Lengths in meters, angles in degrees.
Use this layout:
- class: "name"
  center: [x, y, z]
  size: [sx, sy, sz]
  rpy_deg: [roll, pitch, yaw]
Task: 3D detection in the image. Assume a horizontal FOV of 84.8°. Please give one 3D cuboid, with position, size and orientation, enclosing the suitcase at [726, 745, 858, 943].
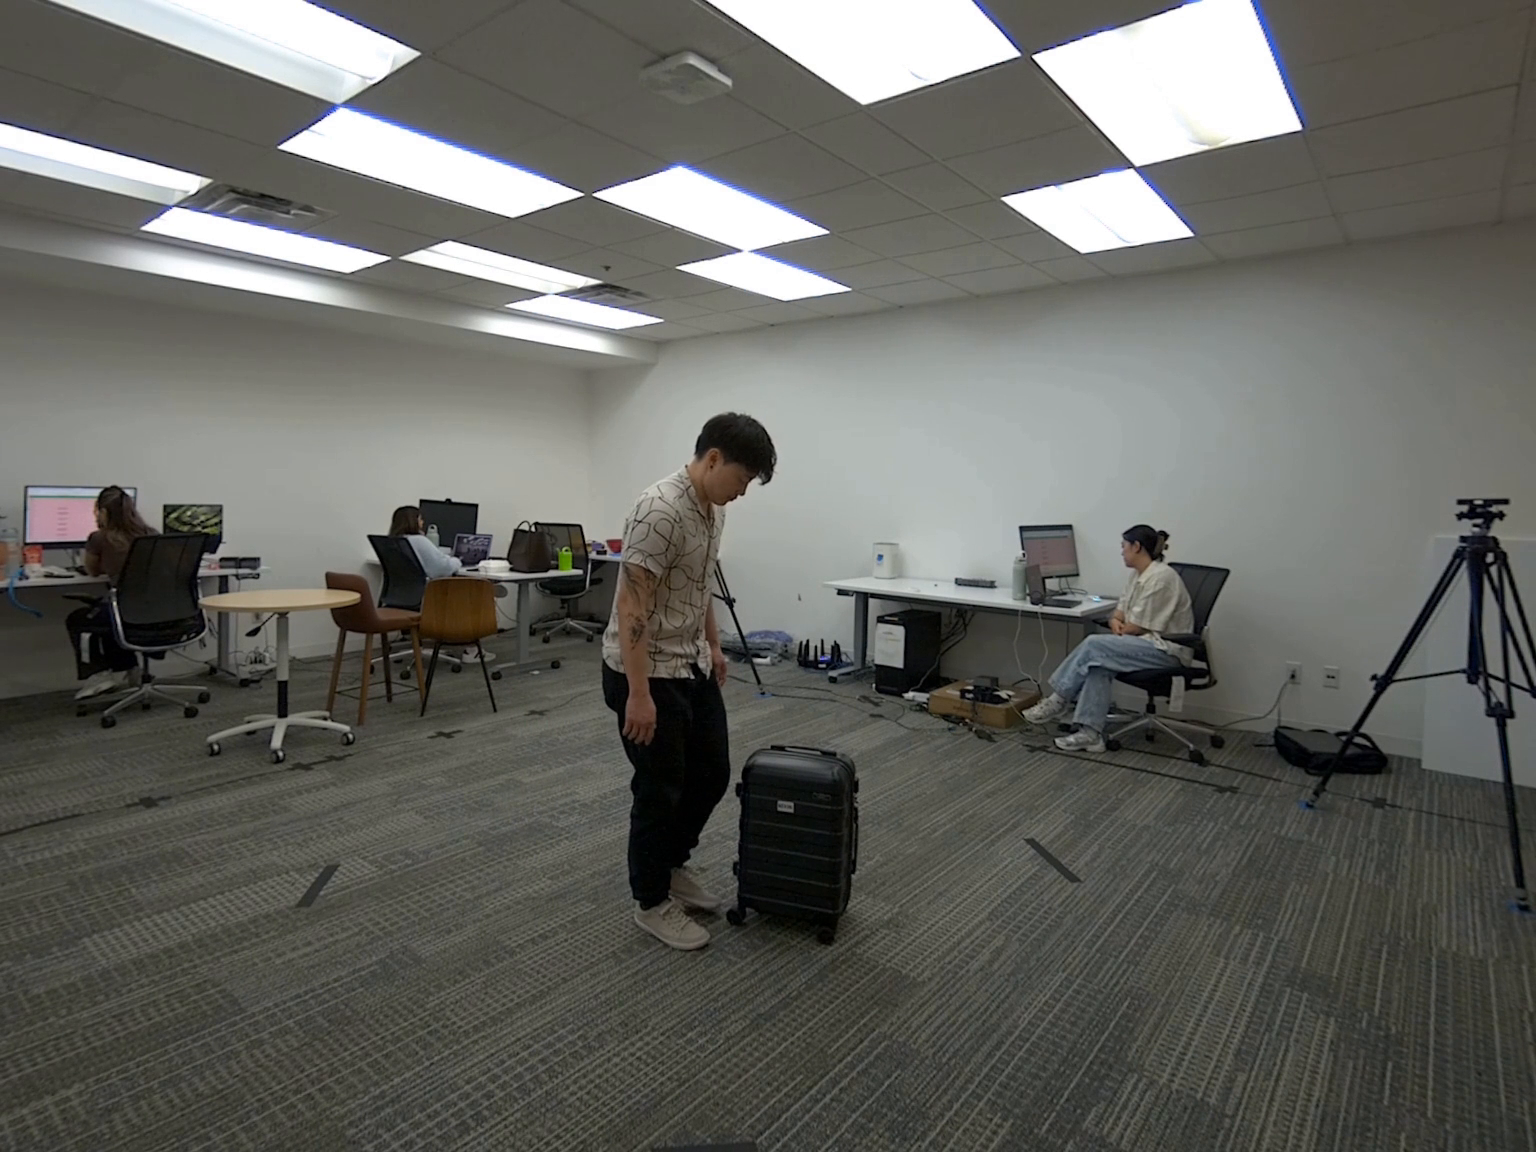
- class: "suitcase"
  center: [0.090, 0.838, 2.757]
  size: [0.382, 0.547, 0.245]
  rpy_deg: [4, 5, 16]
